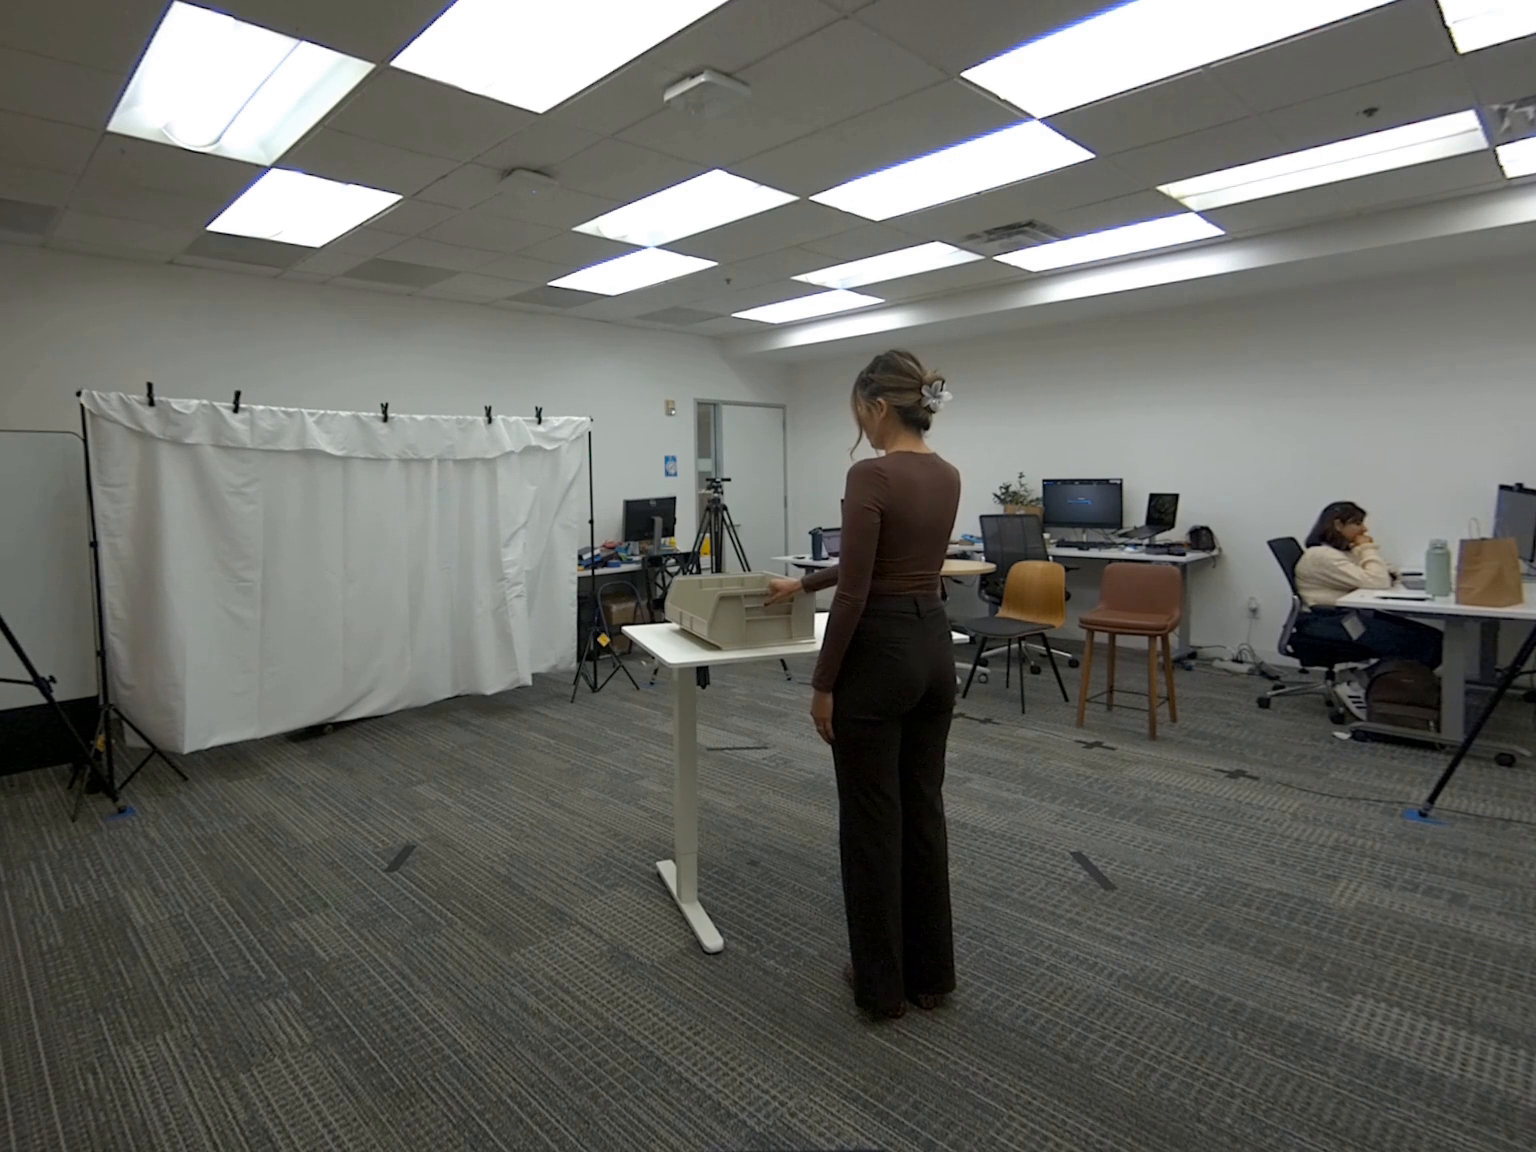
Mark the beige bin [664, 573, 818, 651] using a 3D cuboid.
[{"bbox_3d":[-0.091,0.107,2.773,0.370,0.188,0.432,-2,6,-23],"label":"beige bin"}]
